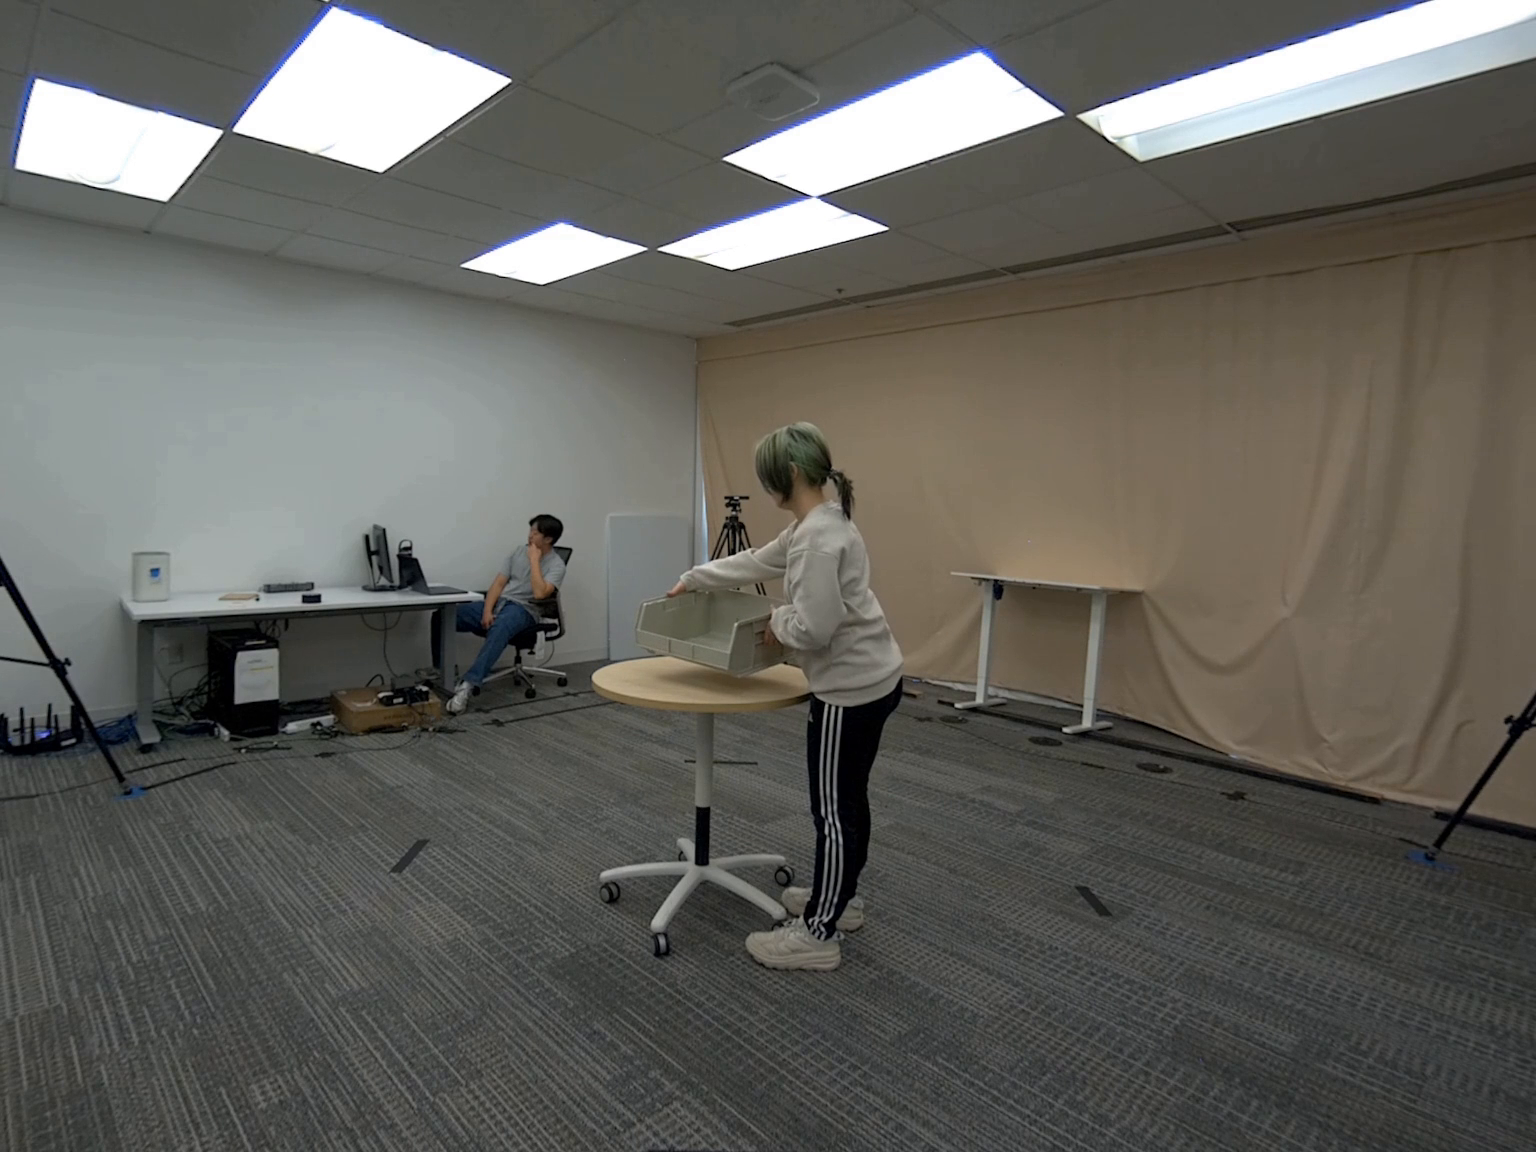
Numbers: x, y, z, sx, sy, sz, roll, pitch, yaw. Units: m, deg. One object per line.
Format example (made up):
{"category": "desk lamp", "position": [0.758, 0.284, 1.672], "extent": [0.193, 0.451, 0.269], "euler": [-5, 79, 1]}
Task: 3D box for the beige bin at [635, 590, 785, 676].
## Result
{"category": "beige bin", "position": [-0.165, 0.181, 2.787], "extent": [0.433, 0.188, 0.370], "euler": [9, 13, 39]}
